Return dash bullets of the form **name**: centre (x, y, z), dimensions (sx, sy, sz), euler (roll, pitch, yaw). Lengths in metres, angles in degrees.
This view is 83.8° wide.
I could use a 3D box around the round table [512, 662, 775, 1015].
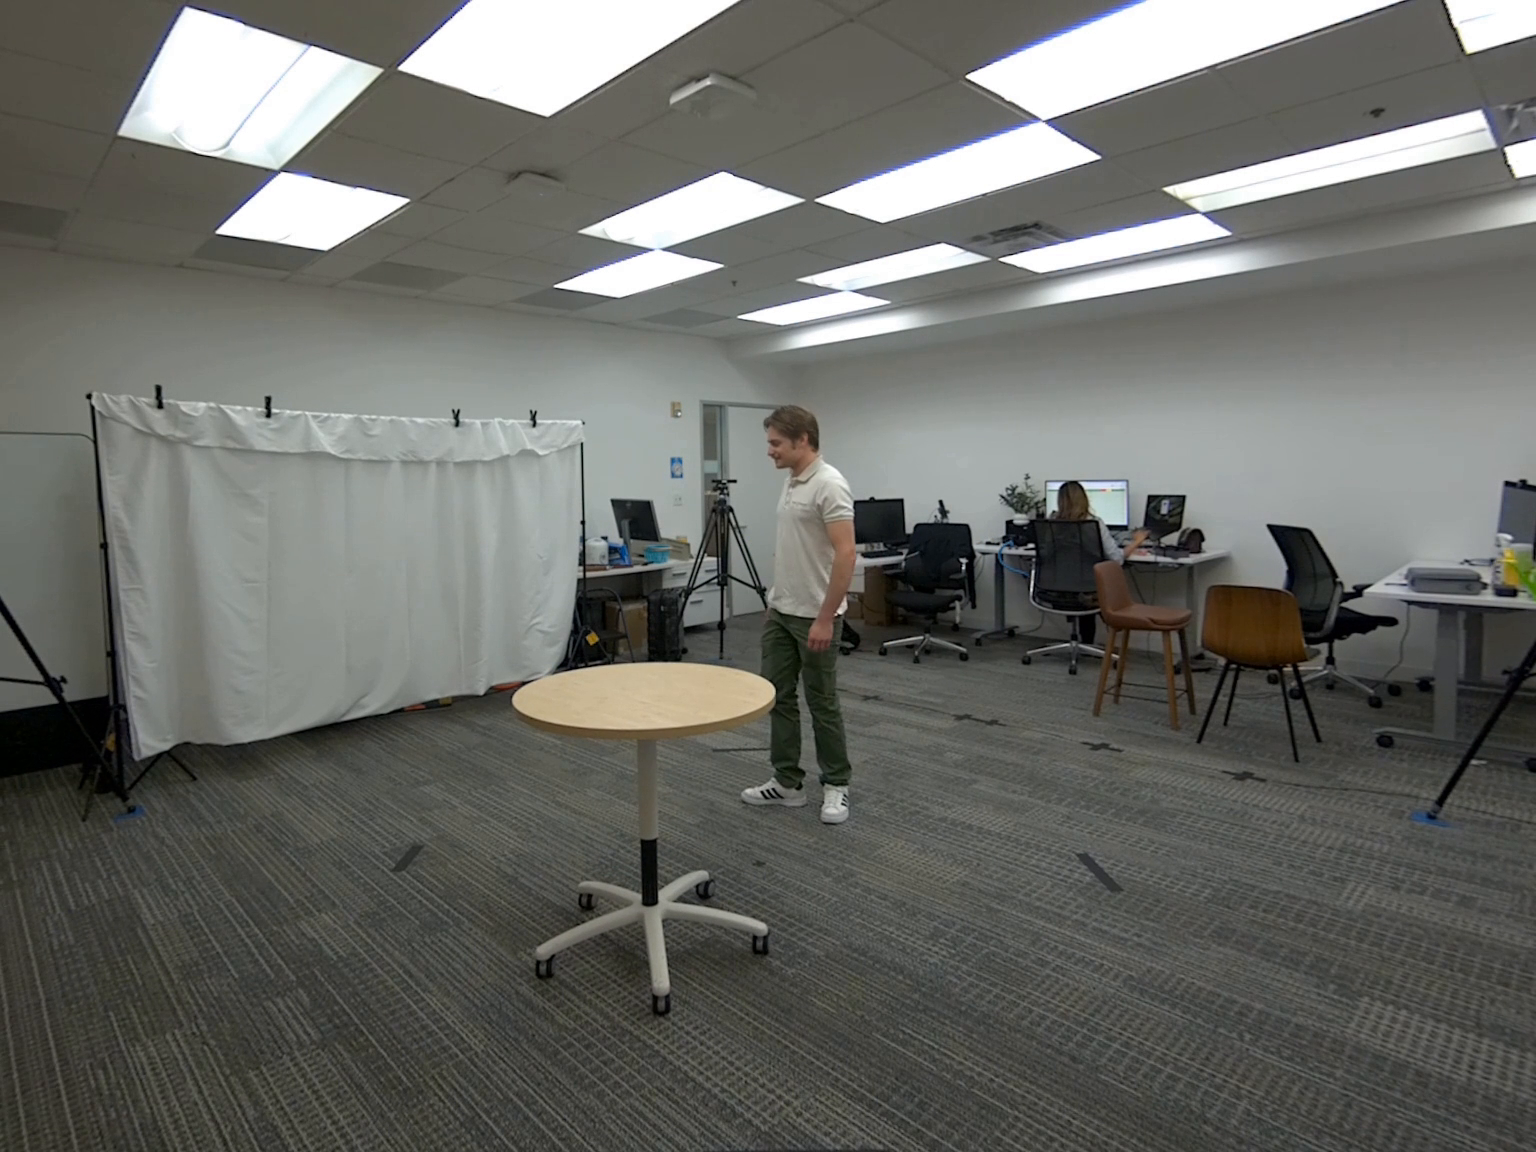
- **round table**: centre (-0.355, 0.731, 2.546), dimensions (0.763, 0.791, 0.768), euler (-1, 5, -2)
